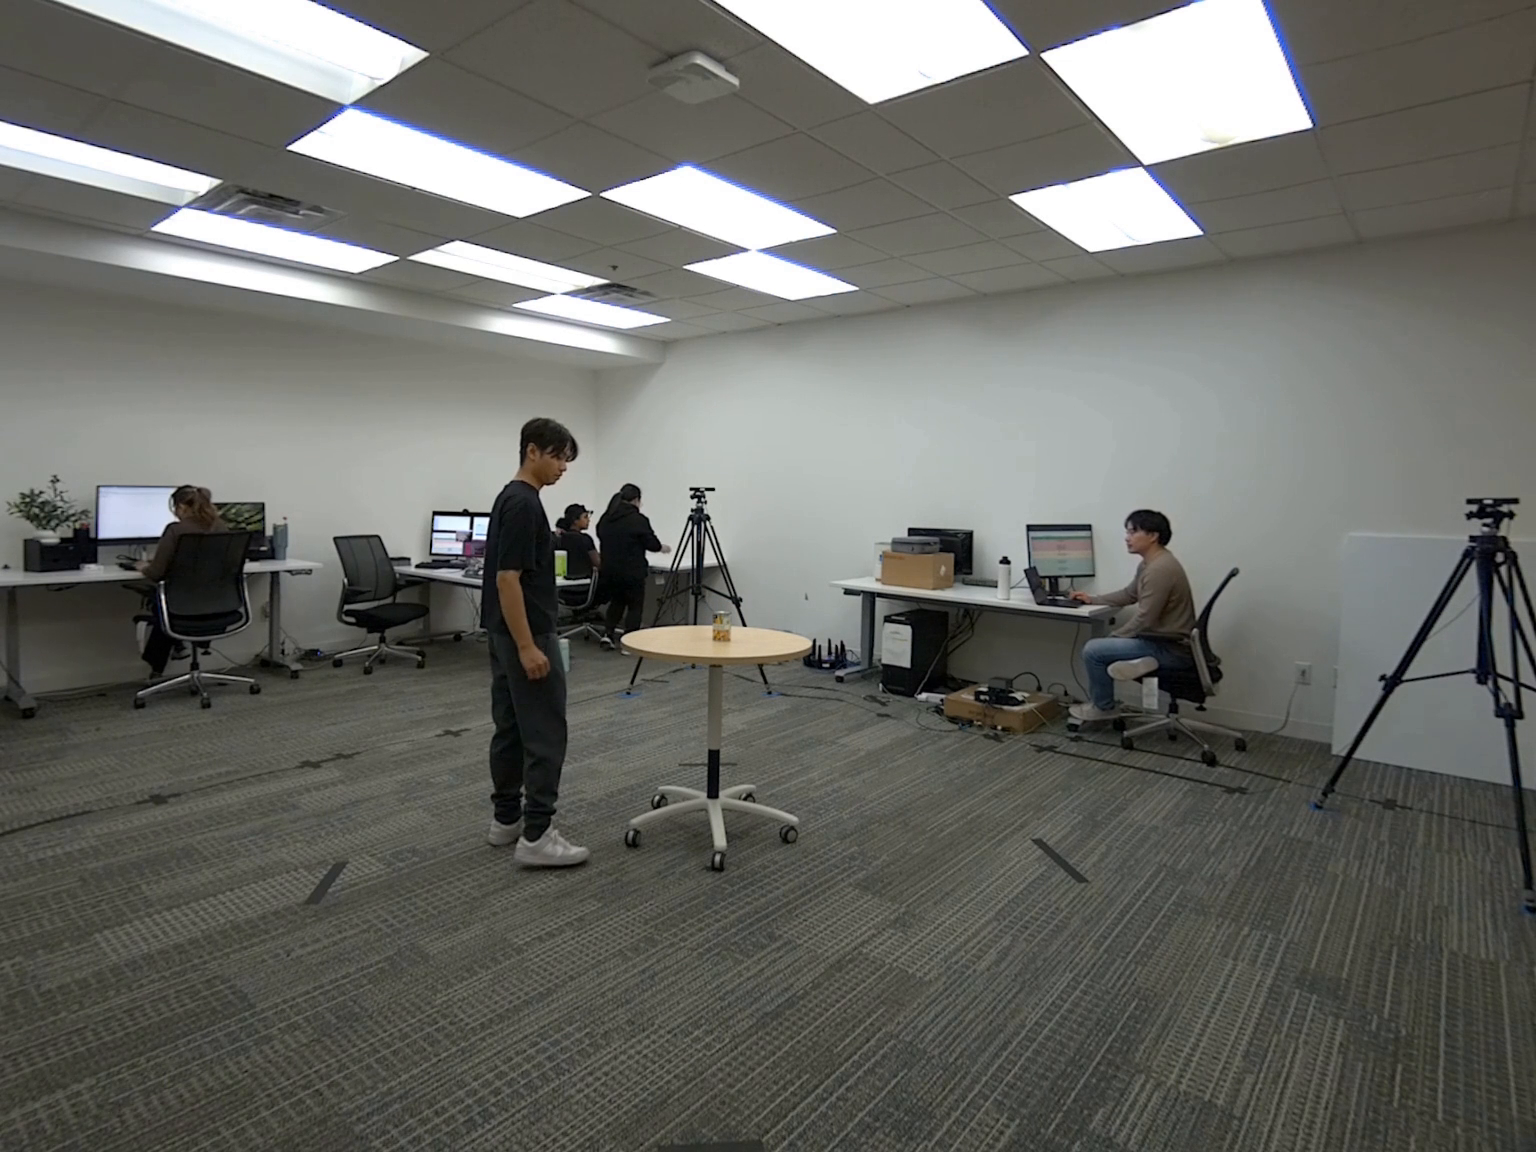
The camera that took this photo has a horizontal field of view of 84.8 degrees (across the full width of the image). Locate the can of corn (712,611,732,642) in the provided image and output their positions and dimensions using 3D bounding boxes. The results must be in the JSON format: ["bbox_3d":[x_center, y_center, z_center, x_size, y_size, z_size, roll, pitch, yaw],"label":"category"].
[{"bbox_3d":[-0.200,0.204,3.413,0.074,0.111,0.074,0,1,-2],"label":"can of corn"}]
